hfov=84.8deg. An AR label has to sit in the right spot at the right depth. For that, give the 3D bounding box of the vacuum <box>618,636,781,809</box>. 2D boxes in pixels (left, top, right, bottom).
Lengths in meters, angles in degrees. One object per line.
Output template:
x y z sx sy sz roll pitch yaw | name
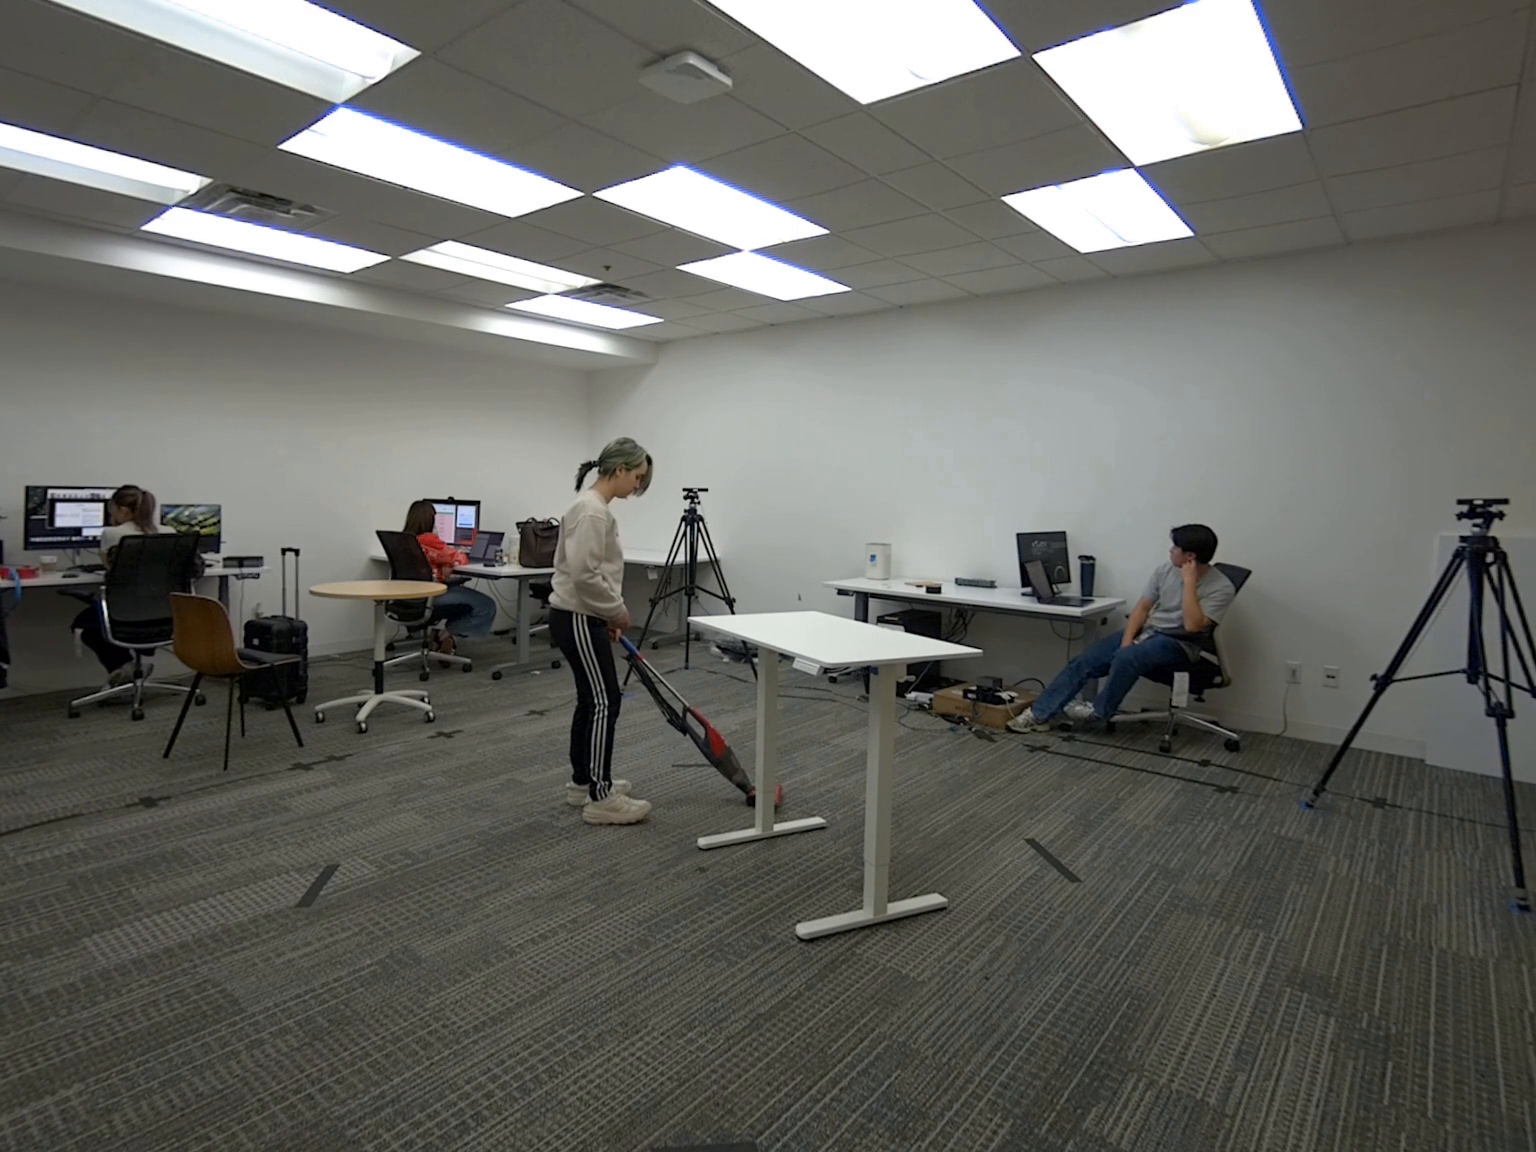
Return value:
-0.390 0.620 3.828 1.053 0.144 0.251 45 3 2 | vacuum
